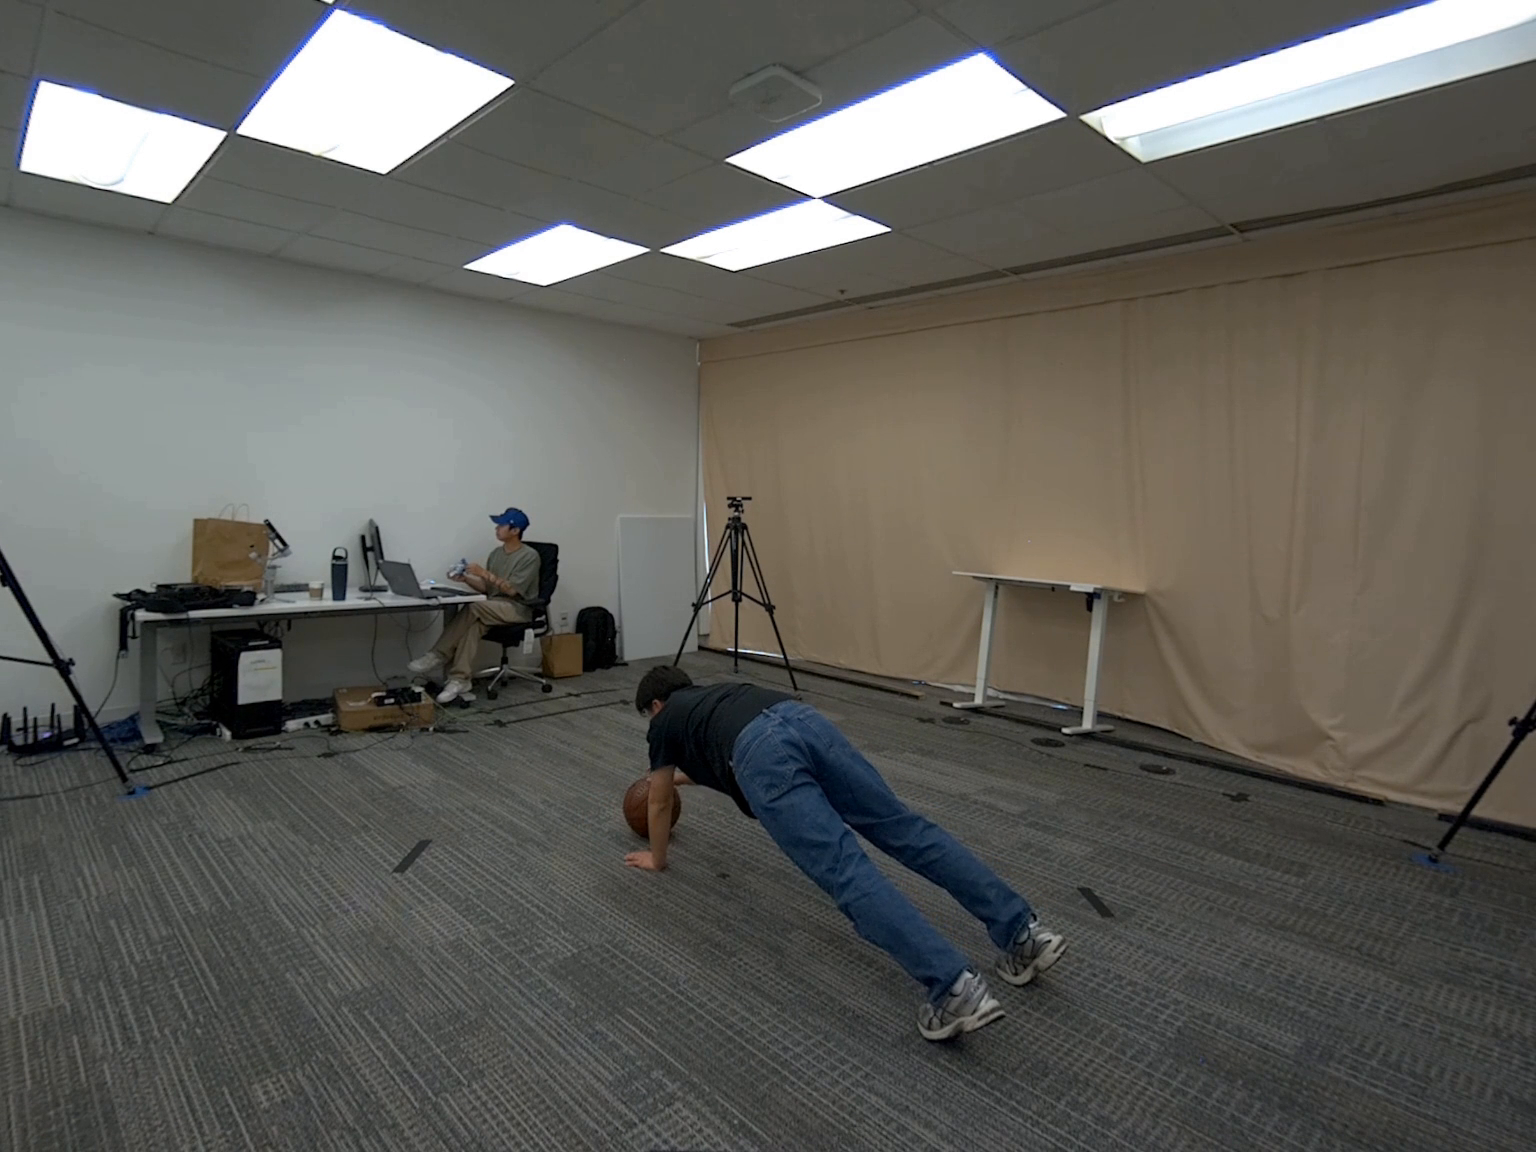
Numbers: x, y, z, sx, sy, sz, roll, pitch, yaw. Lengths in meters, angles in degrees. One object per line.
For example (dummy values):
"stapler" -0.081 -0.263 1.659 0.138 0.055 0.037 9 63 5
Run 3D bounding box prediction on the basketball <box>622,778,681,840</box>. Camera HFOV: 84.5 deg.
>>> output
"basketball" -0.478 0.946 3.458 0.236 0.235 0.237 1 4 -1
